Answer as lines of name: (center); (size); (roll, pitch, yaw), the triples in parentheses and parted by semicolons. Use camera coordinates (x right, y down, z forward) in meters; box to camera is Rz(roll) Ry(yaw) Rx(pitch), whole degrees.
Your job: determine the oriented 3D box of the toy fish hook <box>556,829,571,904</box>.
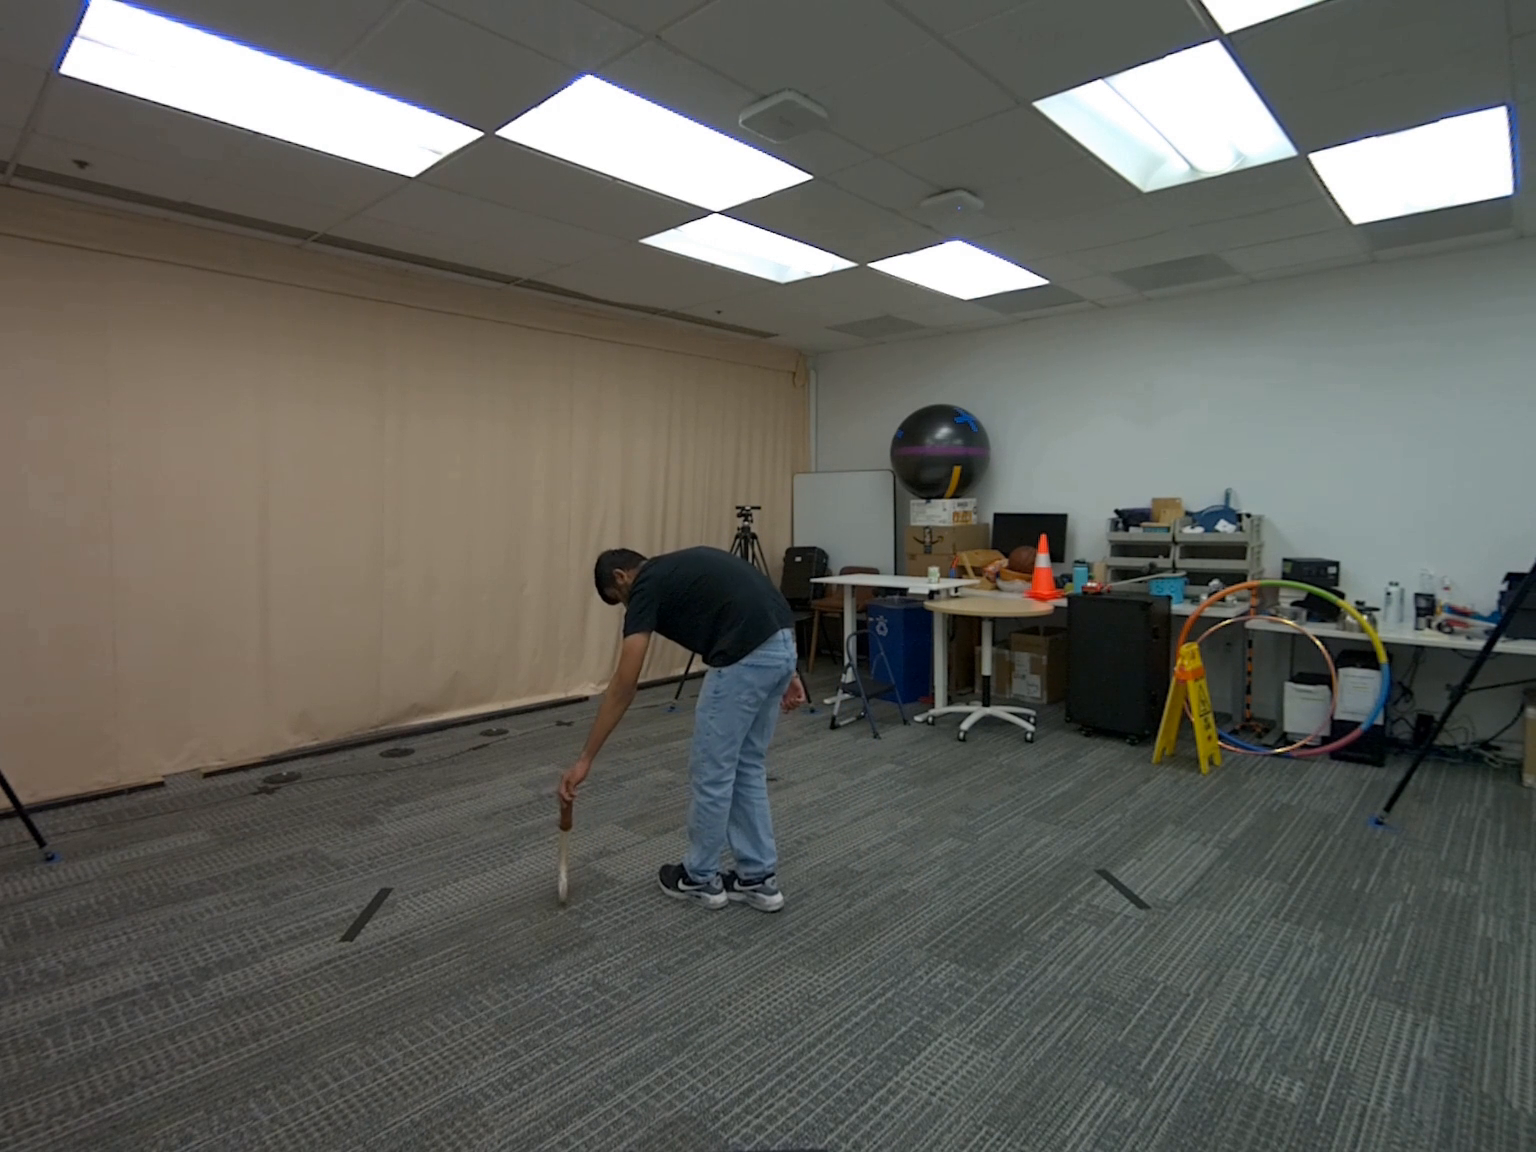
toy fish hook: (-0.688, 0.932, 2.878); (0.047, 0.501, 0.231); (0, 37, -18)
